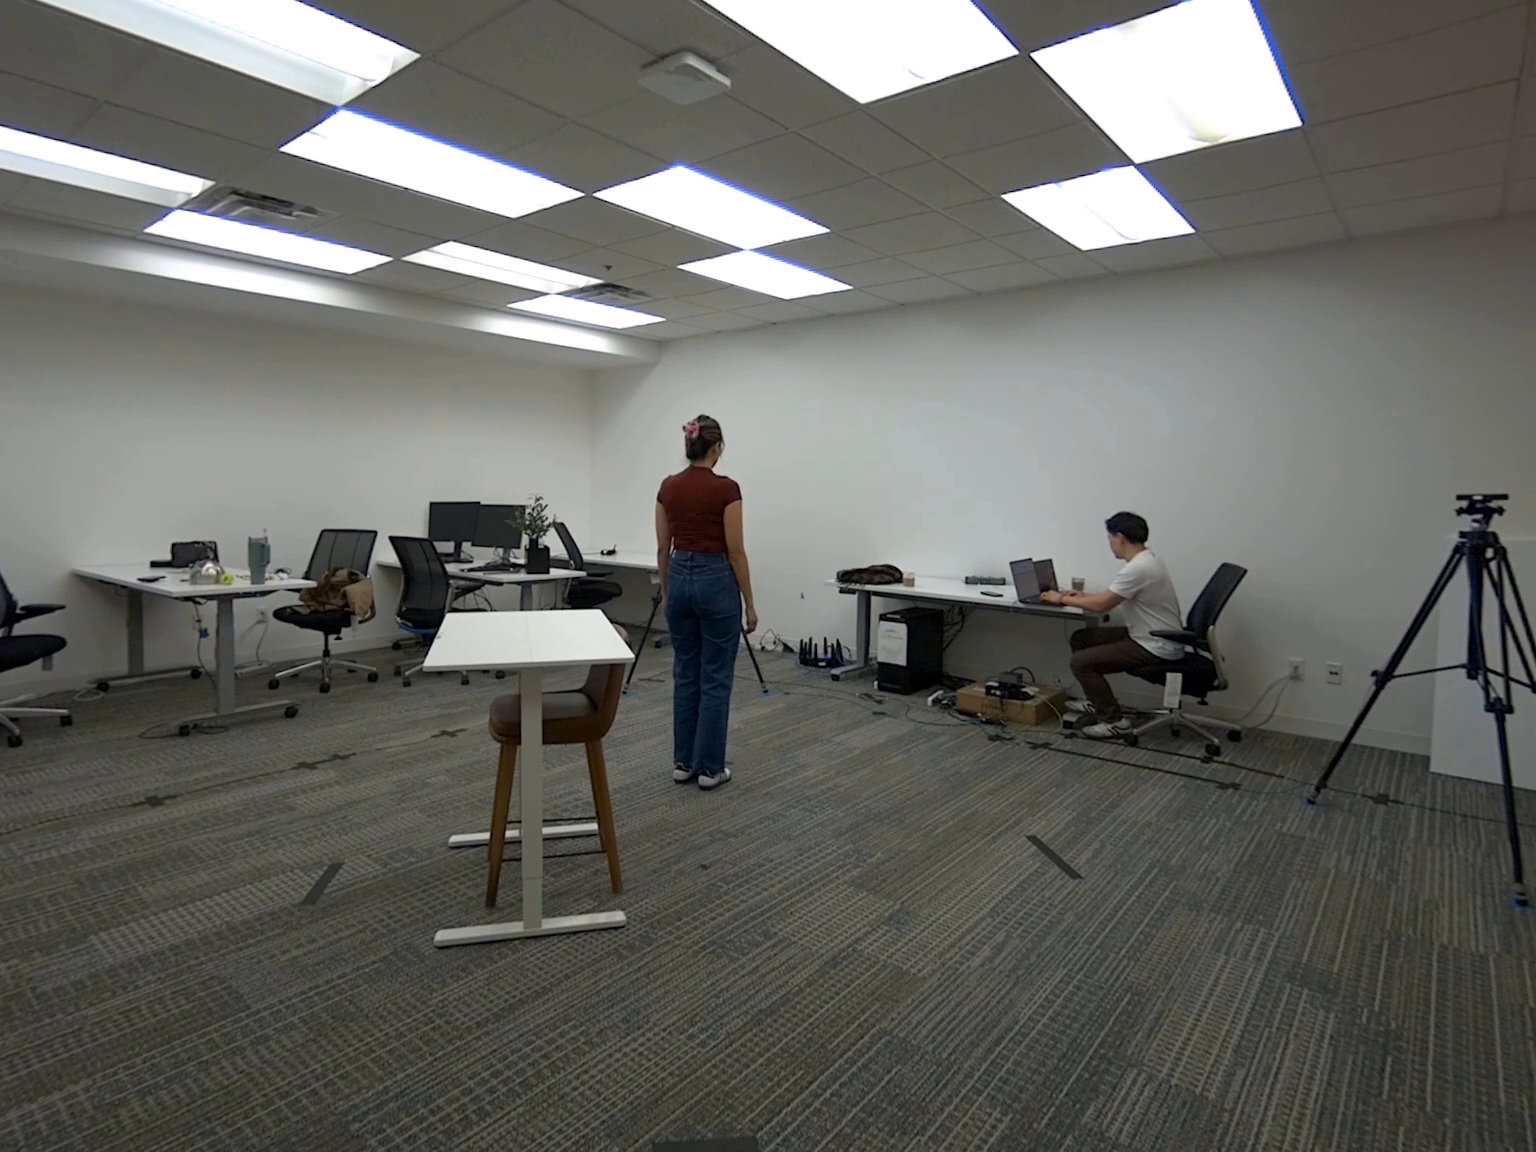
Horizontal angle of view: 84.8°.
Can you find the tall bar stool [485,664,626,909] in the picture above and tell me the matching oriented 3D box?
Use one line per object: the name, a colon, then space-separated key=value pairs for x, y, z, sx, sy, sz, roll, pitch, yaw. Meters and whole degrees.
tall bar stool: x=-0.766 y=0.642 z=3.015 sx=0.460 sy=0.889 sz=0.464 roll=1 pitch=1 yaw=-15
